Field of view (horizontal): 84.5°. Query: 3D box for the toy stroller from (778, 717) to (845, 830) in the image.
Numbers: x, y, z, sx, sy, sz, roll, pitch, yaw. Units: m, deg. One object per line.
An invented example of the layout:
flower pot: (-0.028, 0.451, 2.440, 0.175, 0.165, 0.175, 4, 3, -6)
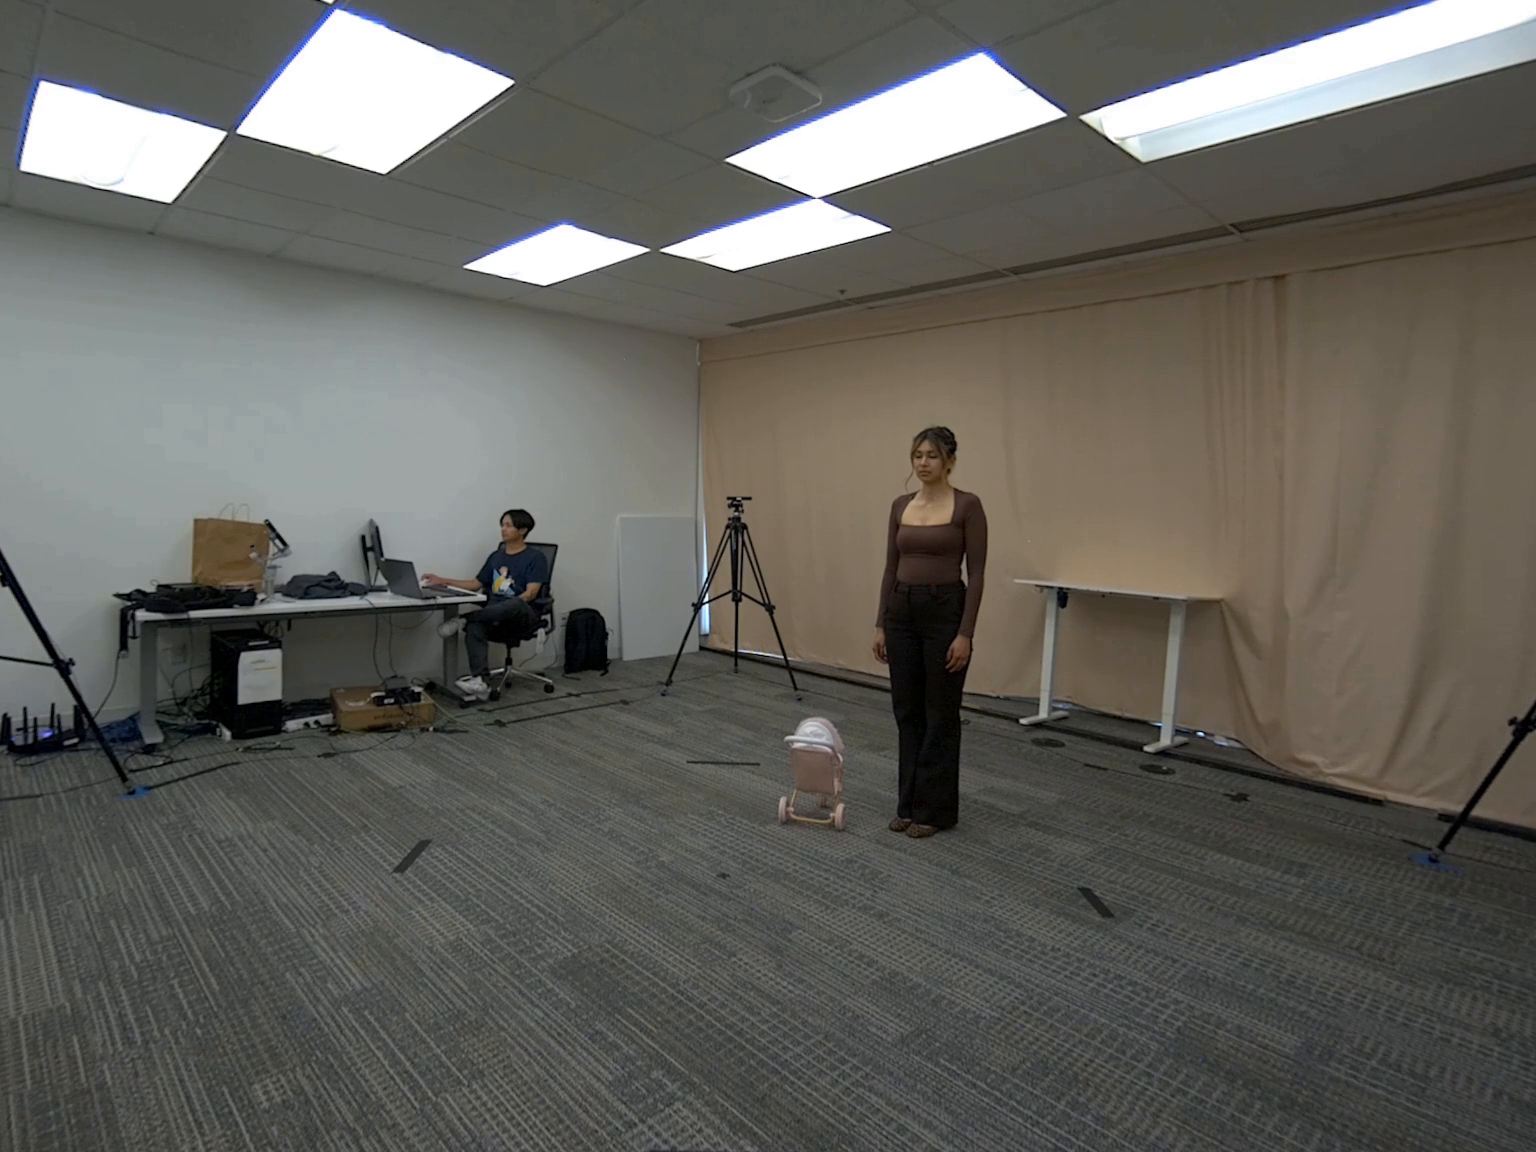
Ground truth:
toy stroller: (0.204, 0.846, 3.662, 0.286, 0.527, 0.341, 3, 21, 19)
